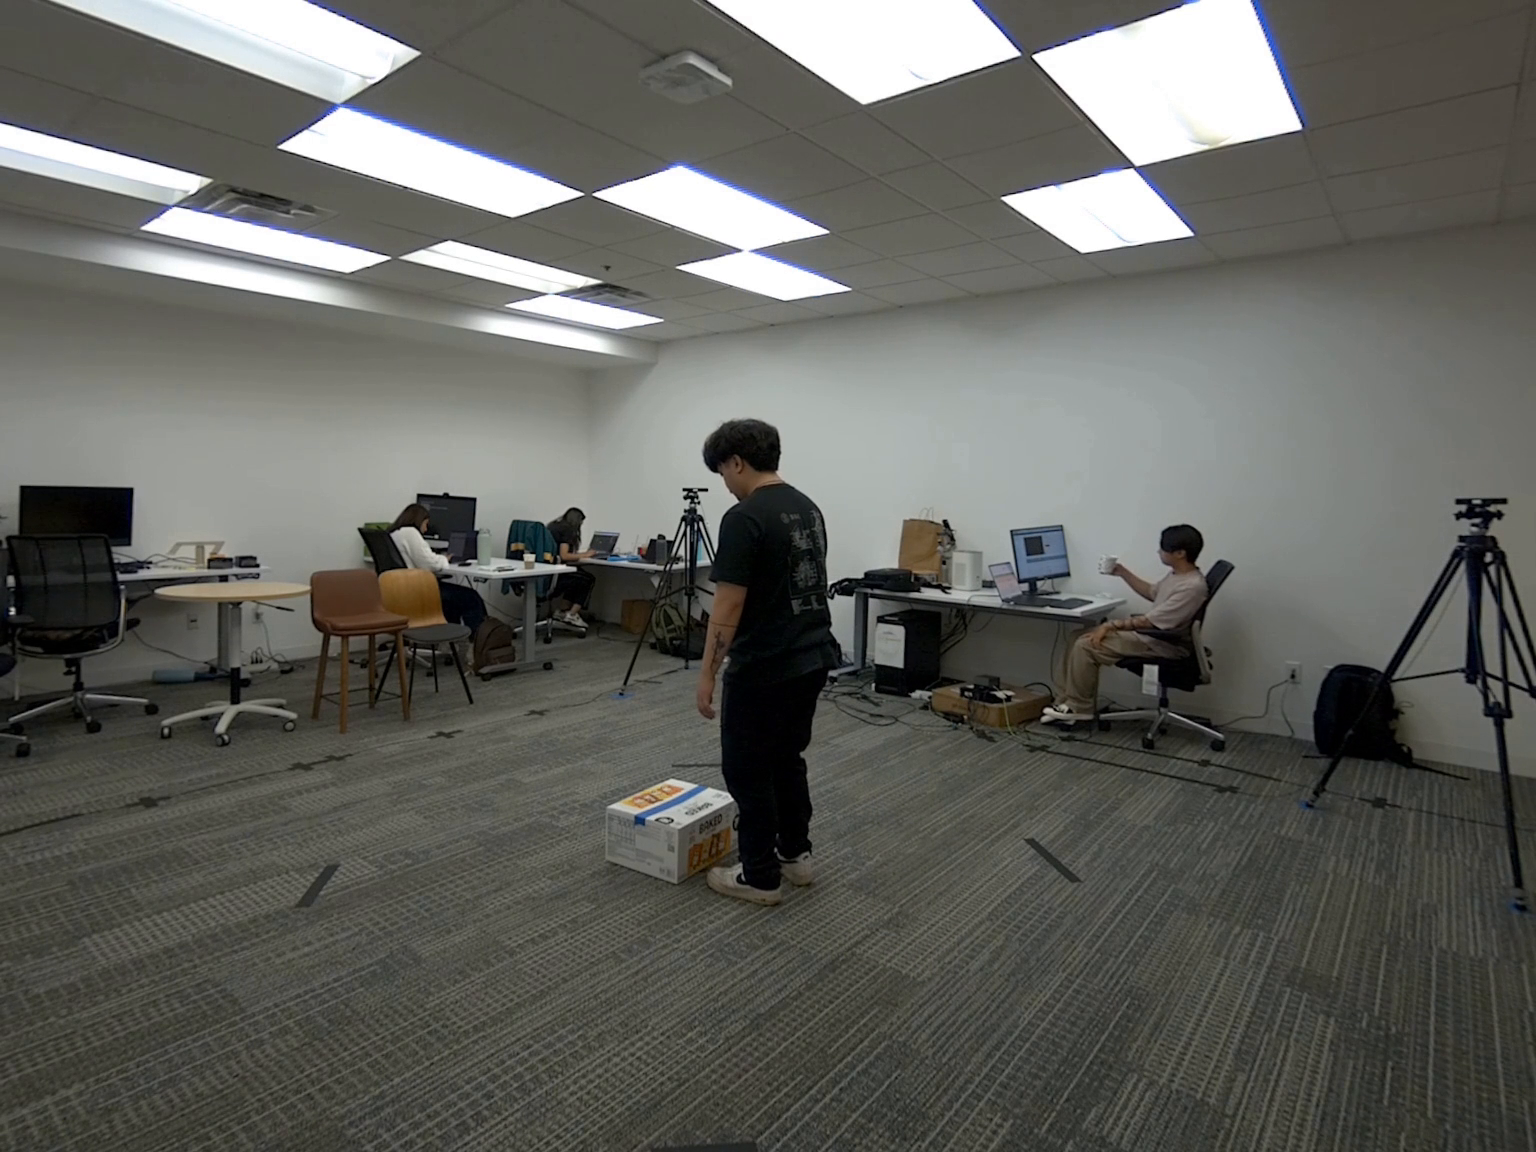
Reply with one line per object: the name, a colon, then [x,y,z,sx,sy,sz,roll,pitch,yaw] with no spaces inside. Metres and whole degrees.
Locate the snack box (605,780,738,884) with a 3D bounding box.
snack box: [-0.366,0.954,3.226,0.351,0.205,0.394,4,6,32]
